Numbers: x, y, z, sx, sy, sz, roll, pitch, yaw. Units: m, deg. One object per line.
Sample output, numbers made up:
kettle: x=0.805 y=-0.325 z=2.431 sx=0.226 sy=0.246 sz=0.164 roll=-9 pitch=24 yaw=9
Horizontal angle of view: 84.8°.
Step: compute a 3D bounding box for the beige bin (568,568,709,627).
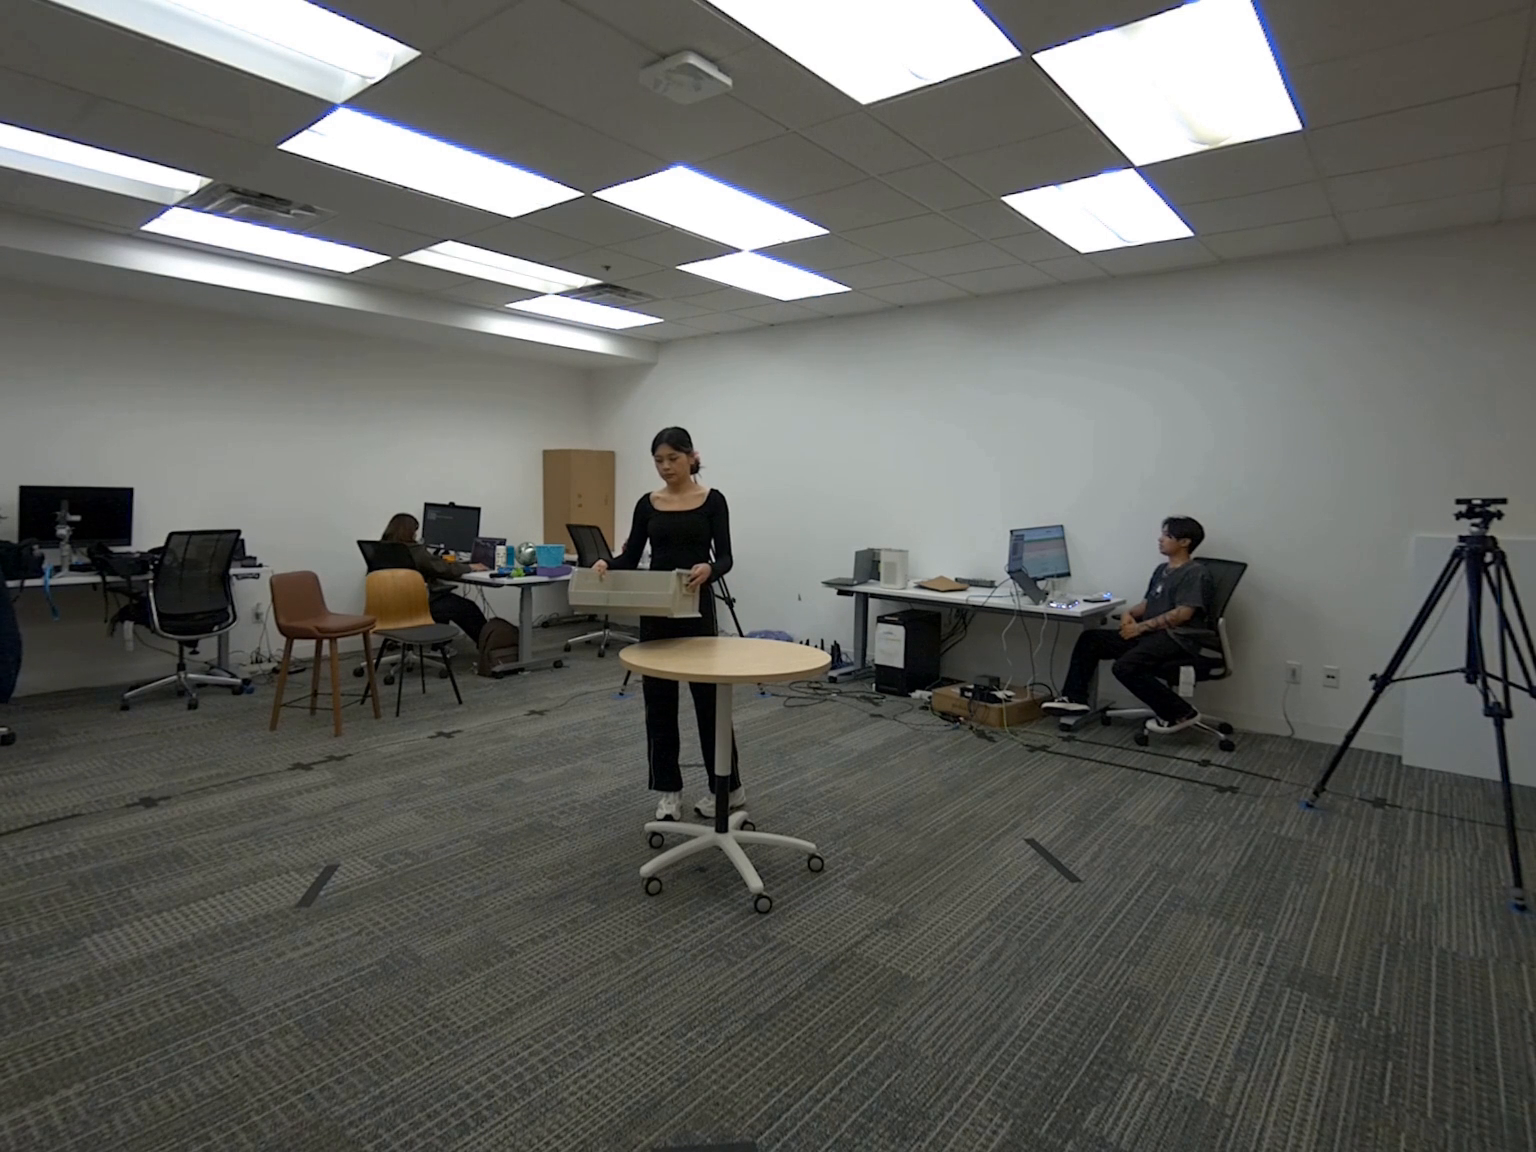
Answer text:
beige bin: x=-0.517 y=0.068 z=3.304 sx=0.428 sy=0.190 sz=0.371 roll=-1 pitch=-3 yaw=13
